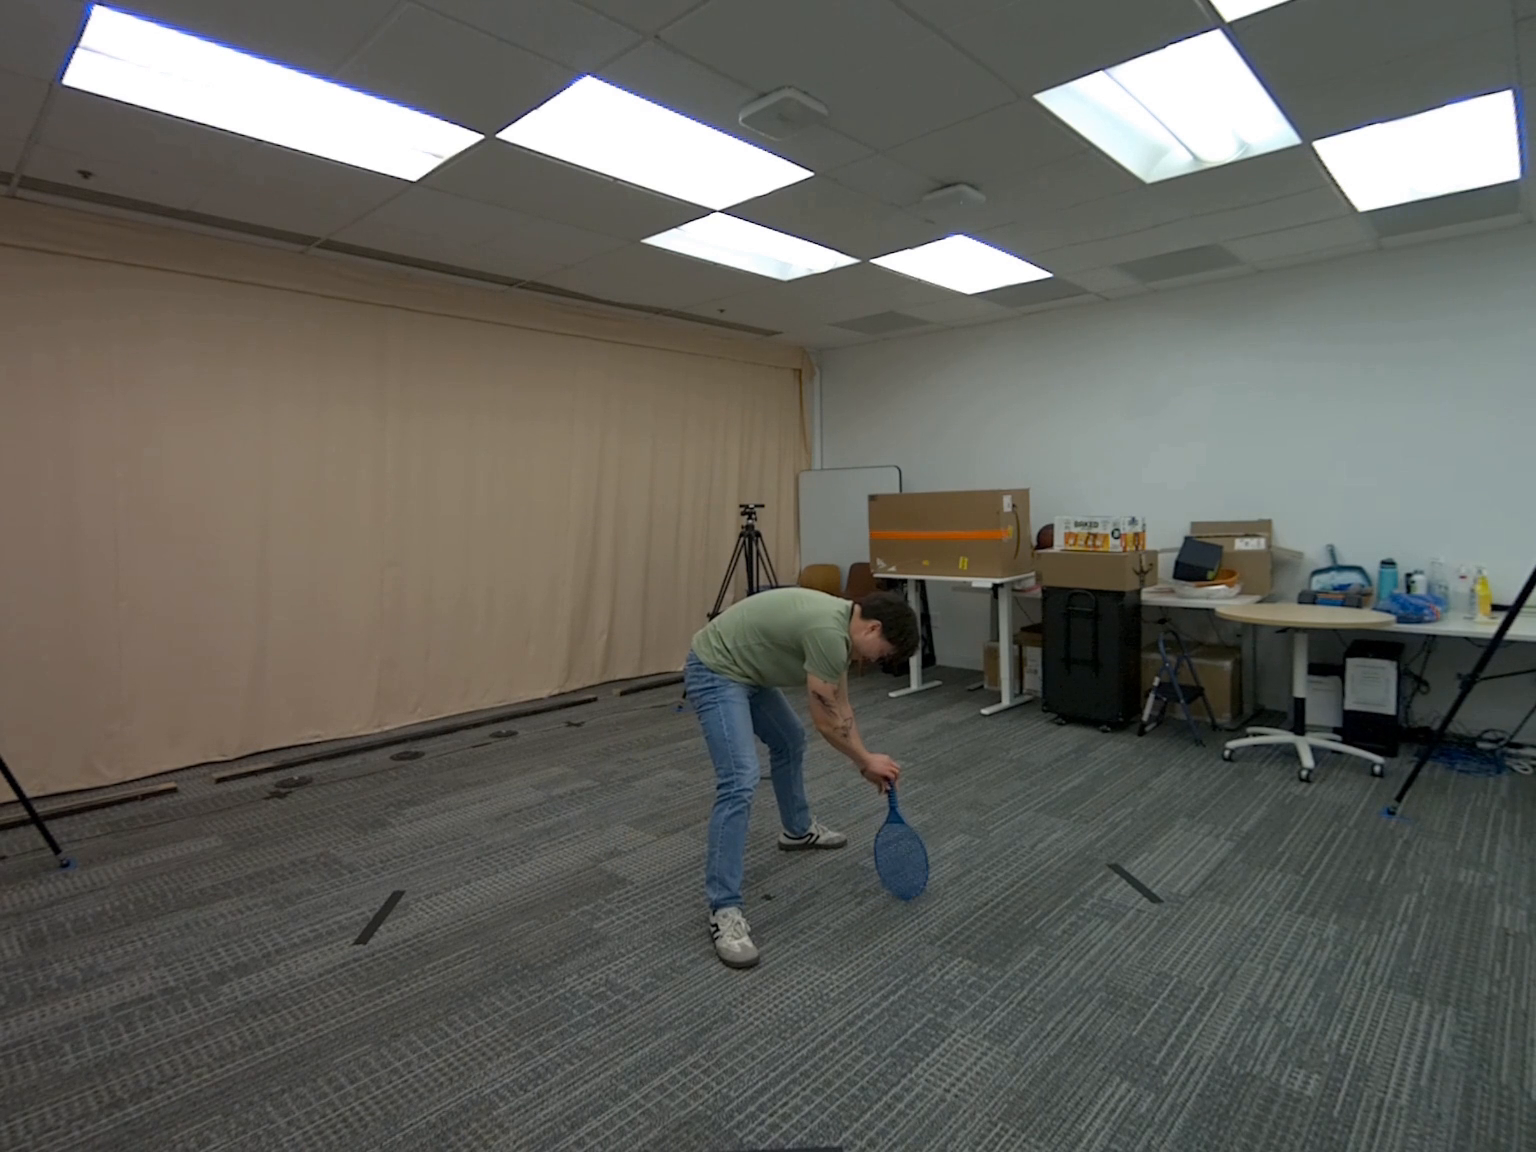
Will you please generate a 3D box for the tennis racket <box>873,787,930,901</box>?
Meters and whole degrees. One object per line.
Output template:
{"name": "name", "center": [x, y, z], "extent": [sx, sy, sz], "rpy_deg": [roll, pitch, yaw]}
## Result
{"name": "tennis racket", "center": [0.468, 0.919, 2.981], "extent": [0.219, 0.435, 0.031], "rpy_deg": [-11, -9, 38]}
